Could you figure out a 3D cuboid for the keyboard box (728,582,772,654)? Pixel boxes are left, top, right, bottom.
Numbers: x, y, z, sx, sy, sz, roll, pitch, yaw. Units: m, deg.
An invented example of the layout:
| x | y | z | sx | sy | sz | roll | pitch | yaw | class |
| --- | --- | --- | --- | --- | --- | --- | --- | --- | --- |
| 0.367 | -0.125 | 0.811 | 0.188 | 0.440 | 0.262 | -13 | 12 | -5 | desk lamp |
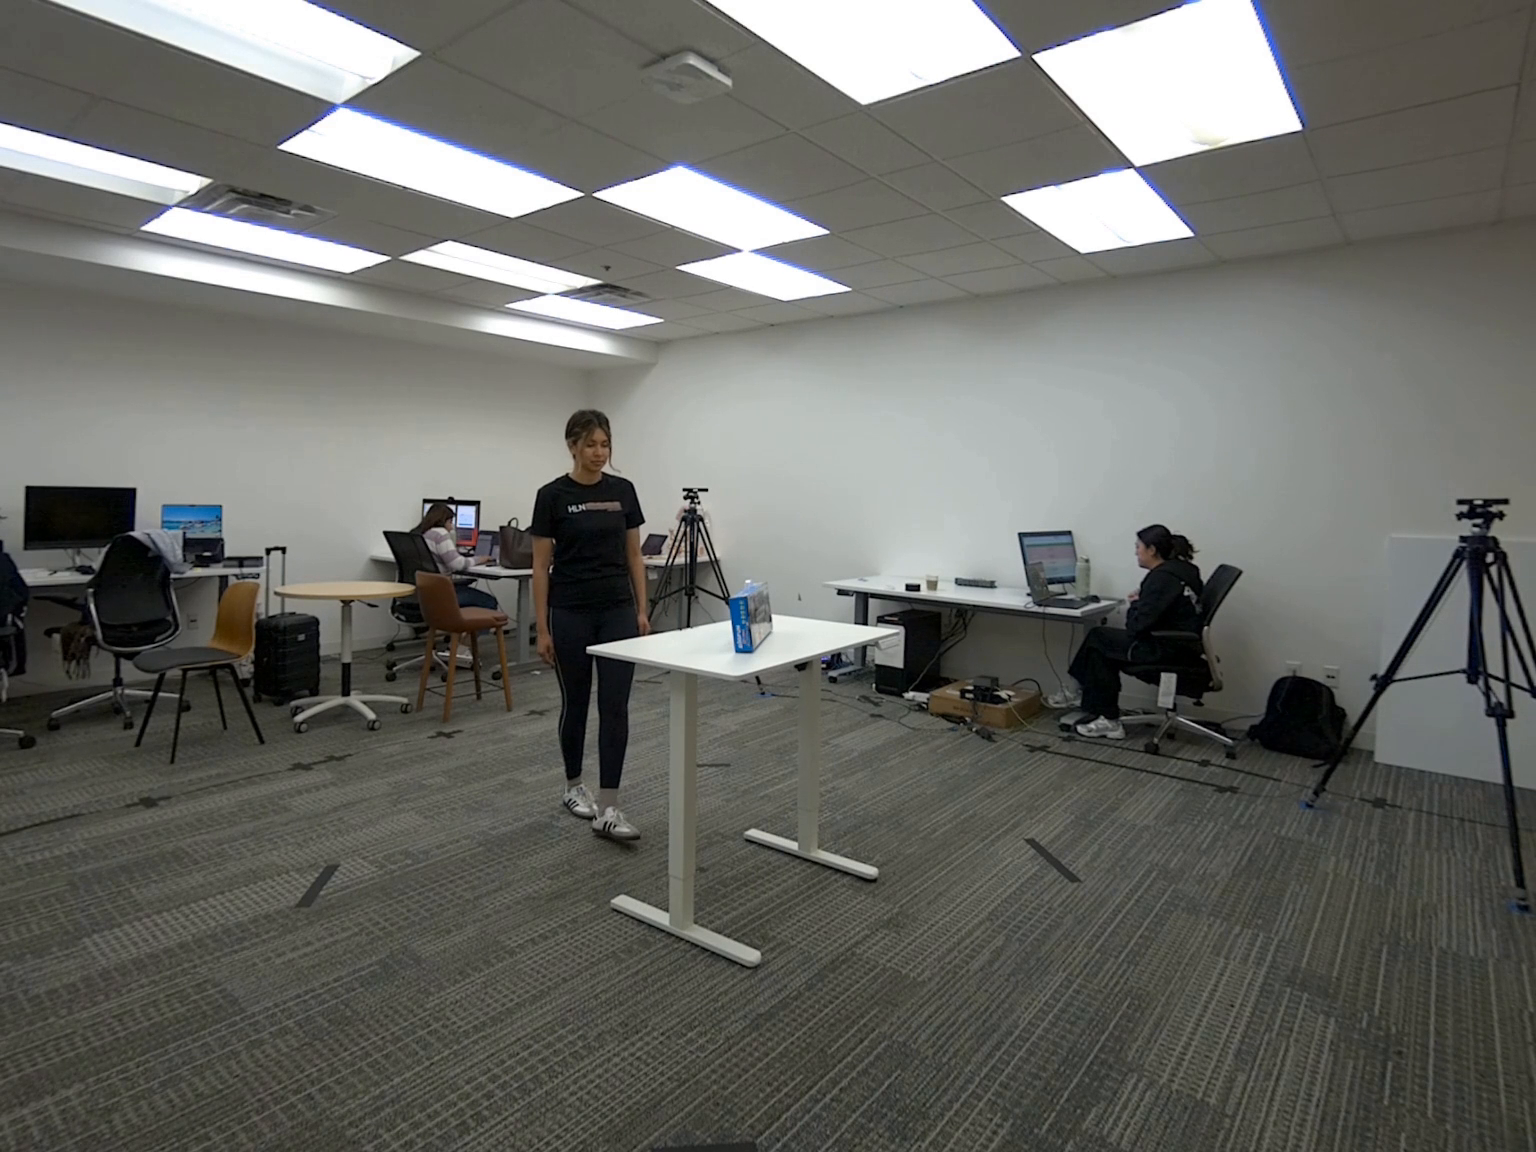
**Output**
| x | y | z | sx | sy | sz | roll | pitch | yaw | class |
| --- | --- | --- | --- | --- | --- | --- | --- | --- | --- |
| -0.061 | 0.129 | 2.840 | 0.060 | 0.175 | 0.434 | -6 | 5 | 9 | keyboard box |
